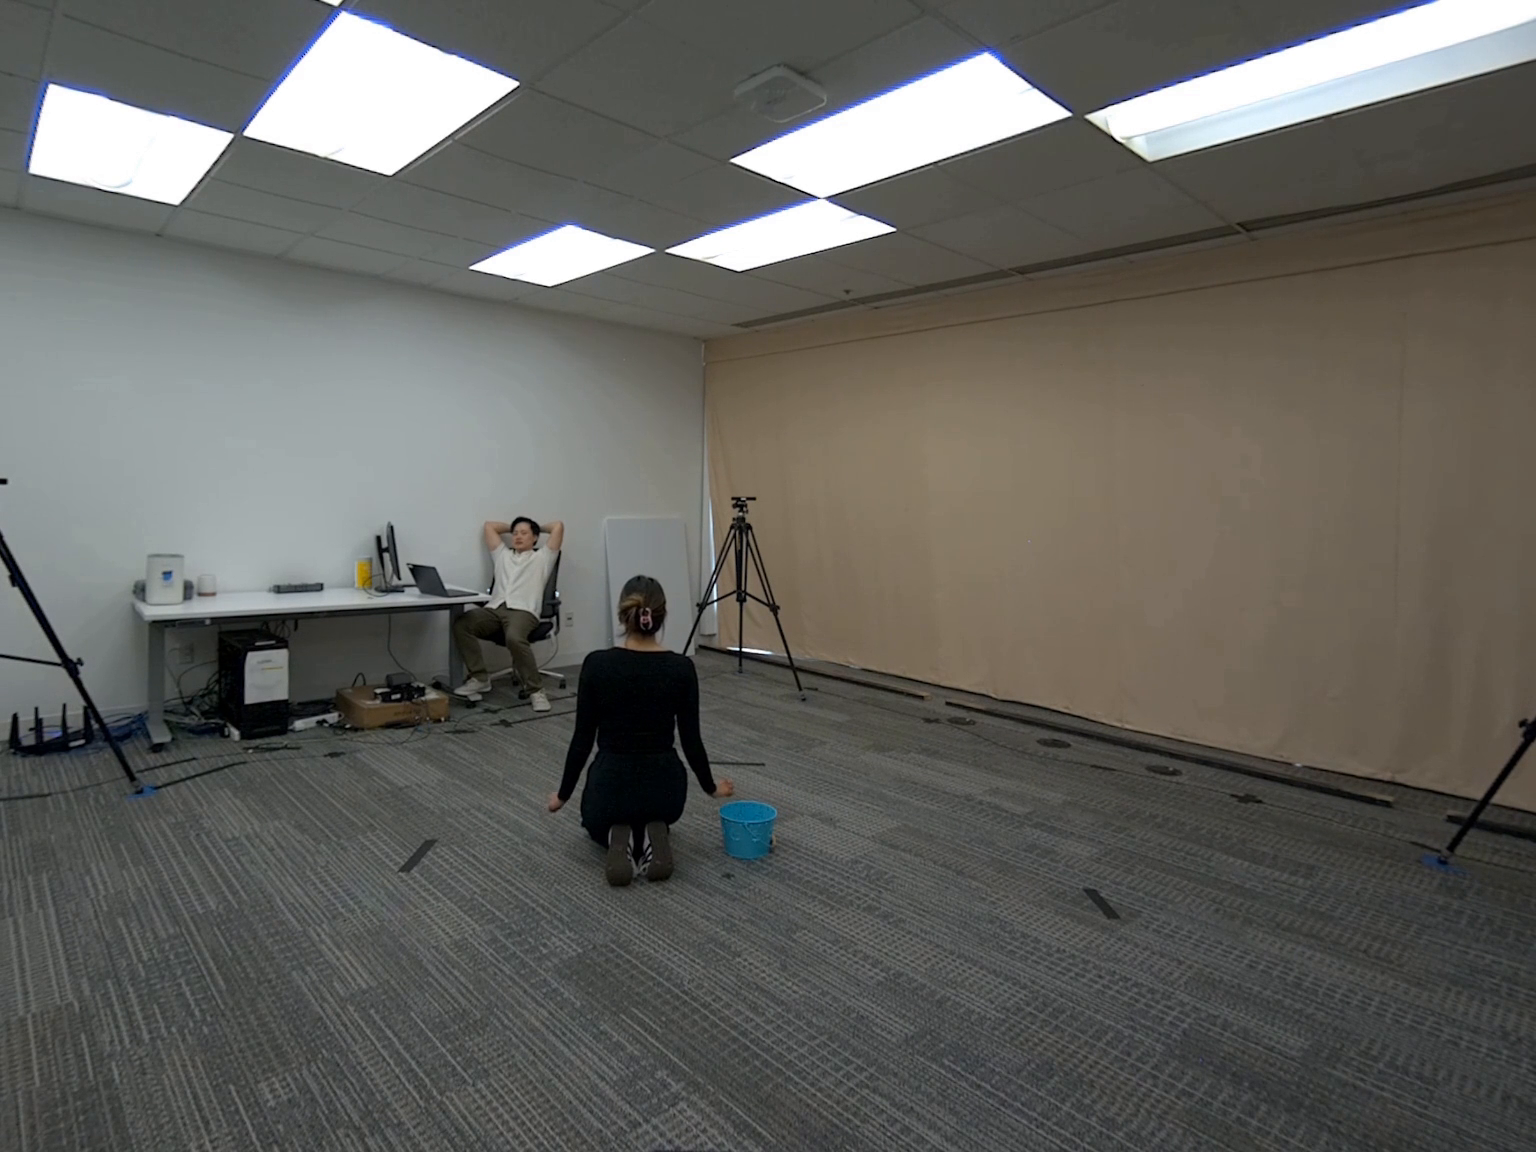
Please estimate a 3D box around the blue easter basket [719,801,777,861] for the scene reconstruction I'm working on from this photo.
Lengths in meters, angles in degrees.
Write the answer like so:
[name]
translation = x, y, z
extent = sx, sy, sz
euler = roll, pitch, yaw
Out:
[blue easter basket]
translation = -0.088, 1.009, 3.337
extent = 0.243, 0.155, 0.244
euler = 2, 5, -1
